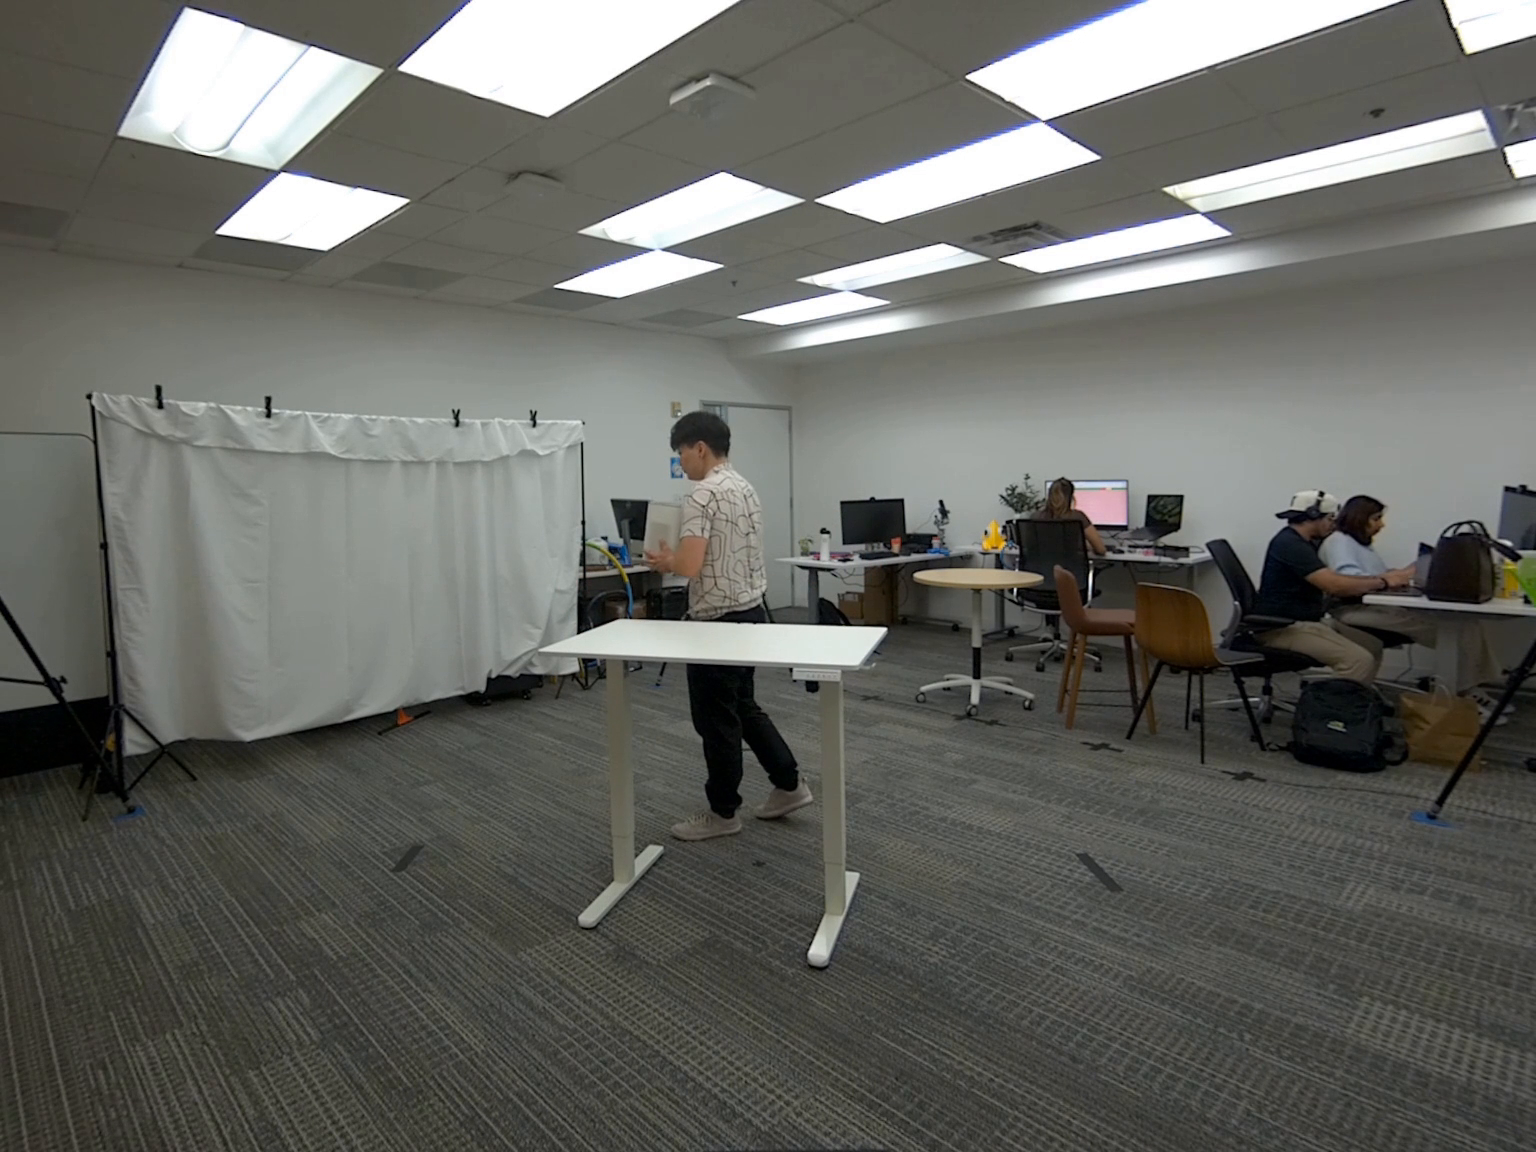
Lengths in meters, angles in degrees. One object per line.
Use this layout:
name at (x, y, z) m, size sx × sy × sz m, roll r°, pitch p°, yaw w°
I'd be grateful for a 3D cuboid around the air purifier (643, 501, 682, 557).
air purifier at (-0.402, -0.161, 3.482) m, size 0.175 × 0.264 × 0.168 m, roll 9°, pitch 6°, yaw 17°
